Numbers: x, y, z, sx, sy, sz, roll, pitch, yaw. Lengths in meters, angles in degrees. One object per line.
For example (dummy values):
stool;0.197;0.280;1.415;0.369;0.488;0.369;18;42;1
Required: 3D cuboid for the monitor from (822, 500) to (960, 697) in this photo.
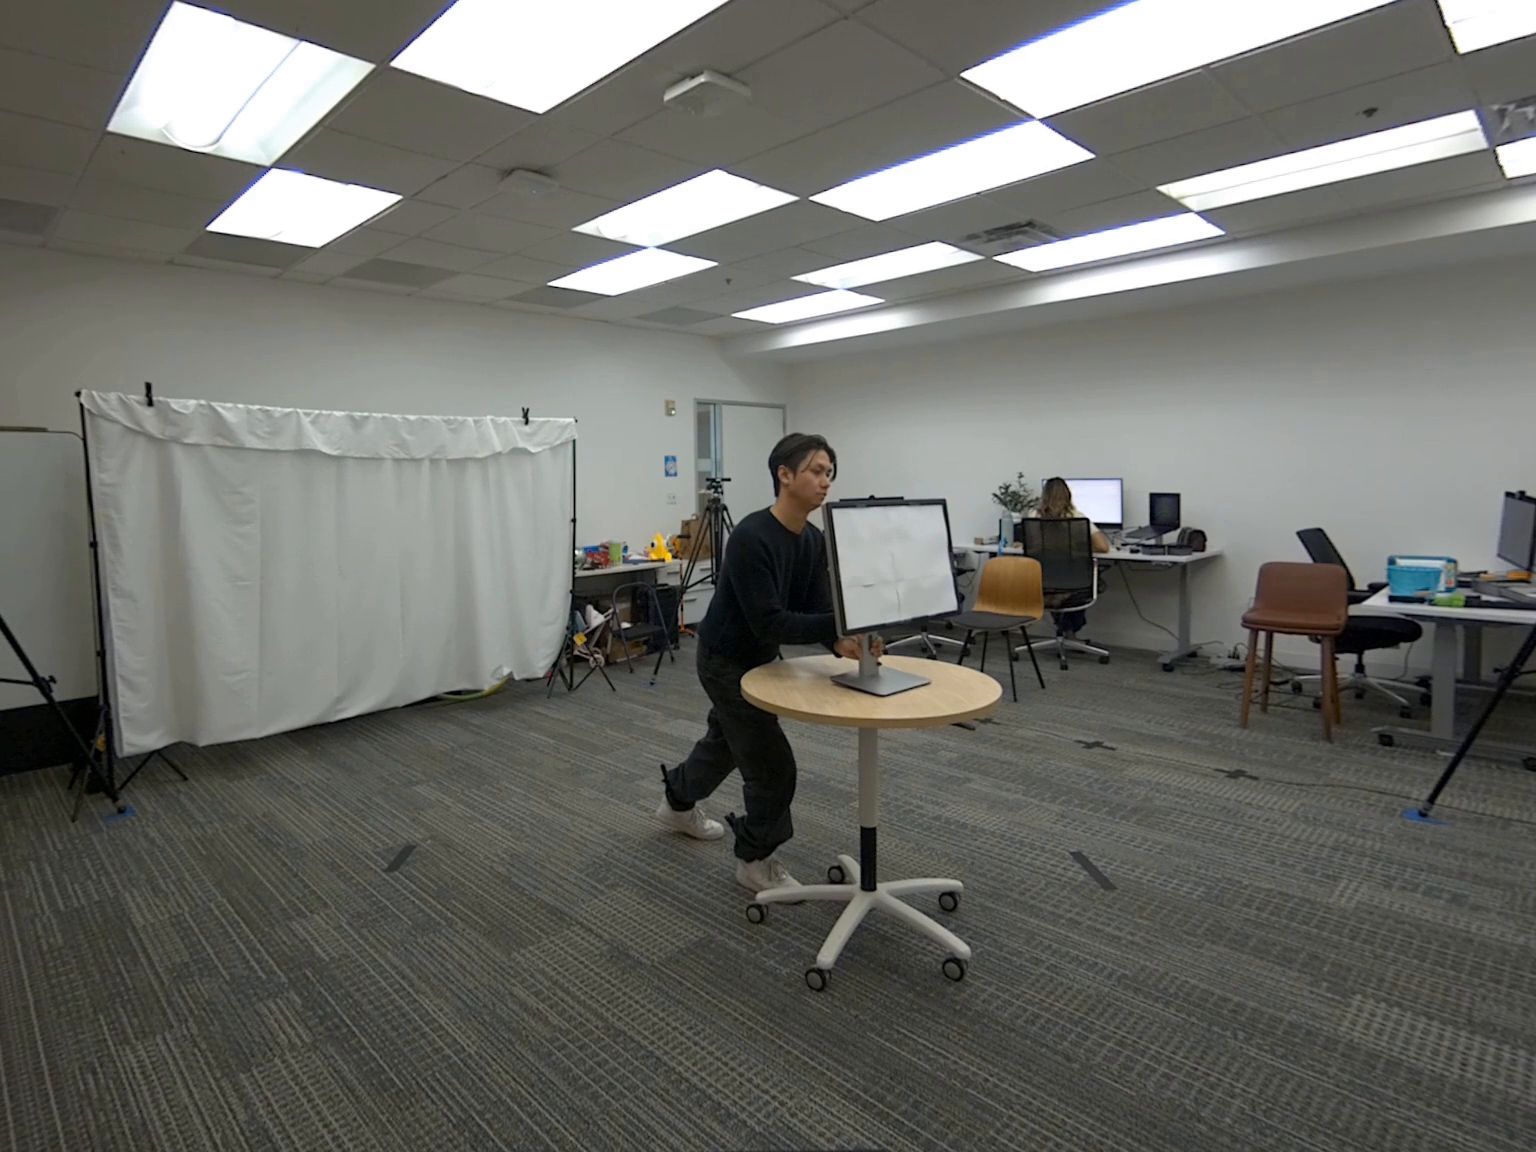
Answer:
monitor;0.348;0.049;2.503;0.515;0.513;0.180;-3;11;-45
